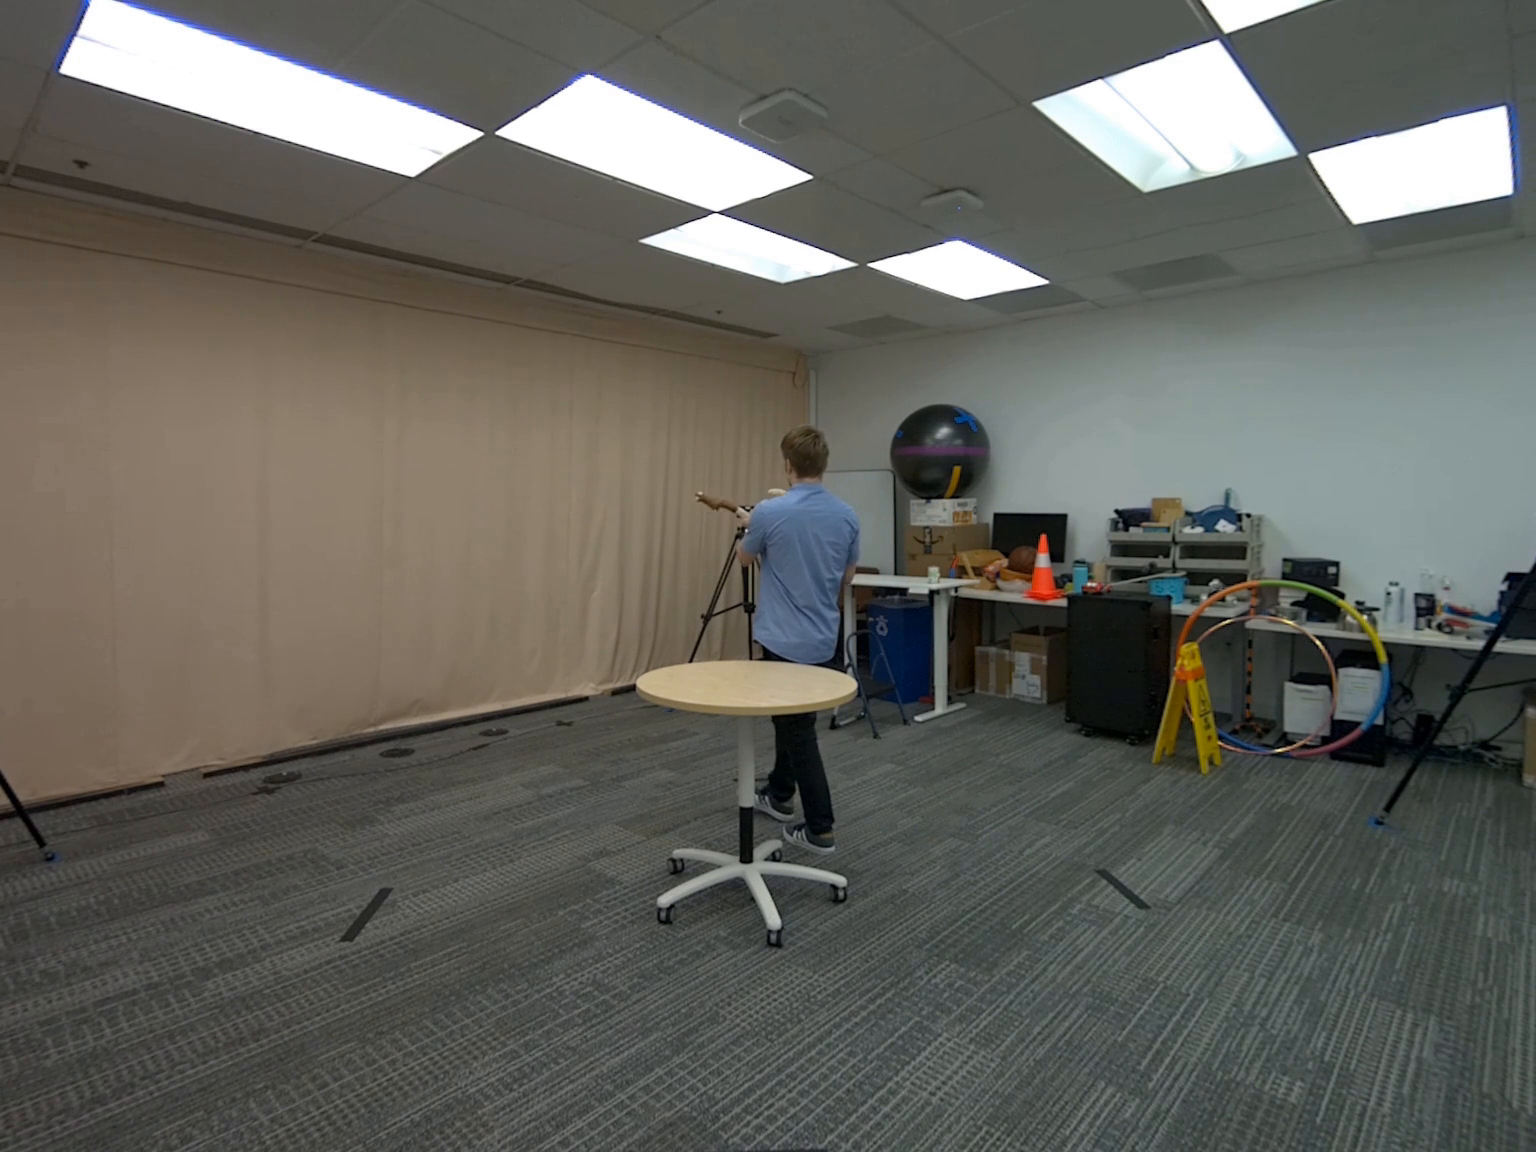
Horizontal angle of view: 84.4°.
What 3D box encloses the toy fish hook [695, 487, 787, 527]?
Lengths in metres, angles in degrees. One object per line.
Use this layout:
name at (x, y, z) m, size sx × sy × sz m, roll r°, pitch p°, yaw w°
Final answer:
toy fish hook at (-0.070, -0.321, 3.873) m, size 0.503 × 0.225 × 0.048 m, roll 21°, pitch -10°, yaw -5°
